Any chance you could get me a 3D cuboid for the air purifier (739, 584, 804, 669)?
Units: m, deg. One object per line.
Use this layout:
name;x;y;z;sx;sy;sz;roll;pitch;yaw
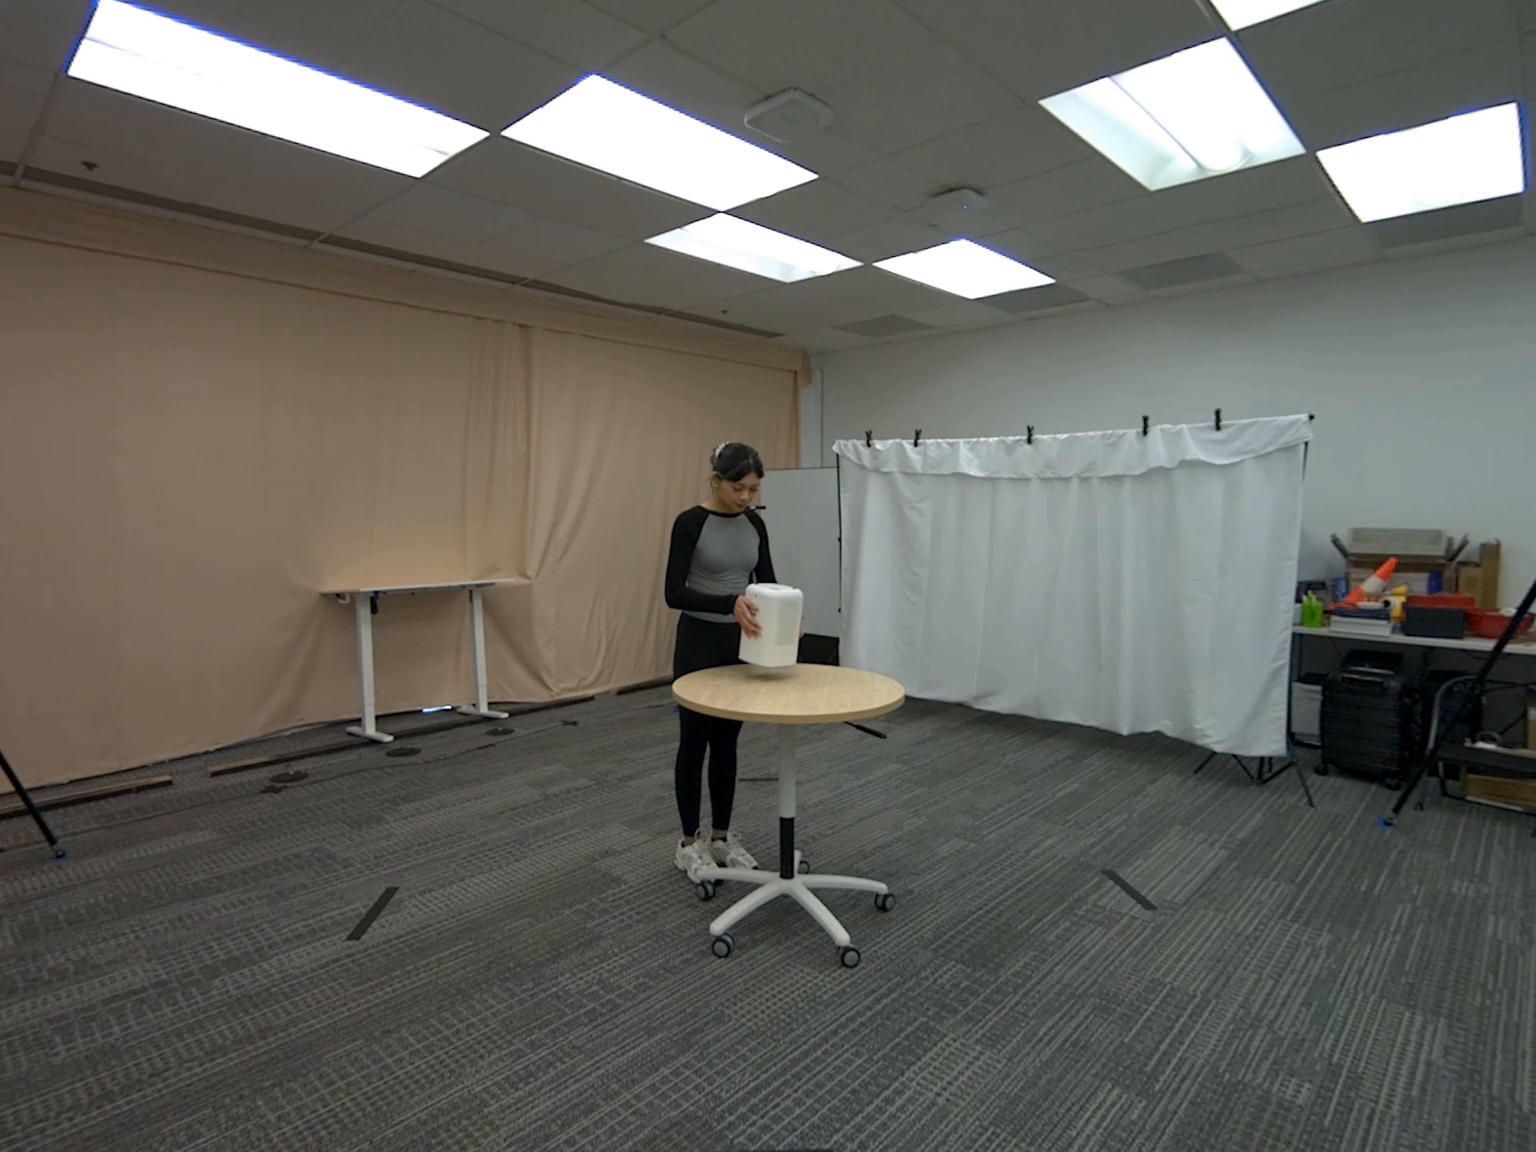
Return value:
air purifier;0.017;0.166;2.916;0.177;0.265;0.166;9;6;42
